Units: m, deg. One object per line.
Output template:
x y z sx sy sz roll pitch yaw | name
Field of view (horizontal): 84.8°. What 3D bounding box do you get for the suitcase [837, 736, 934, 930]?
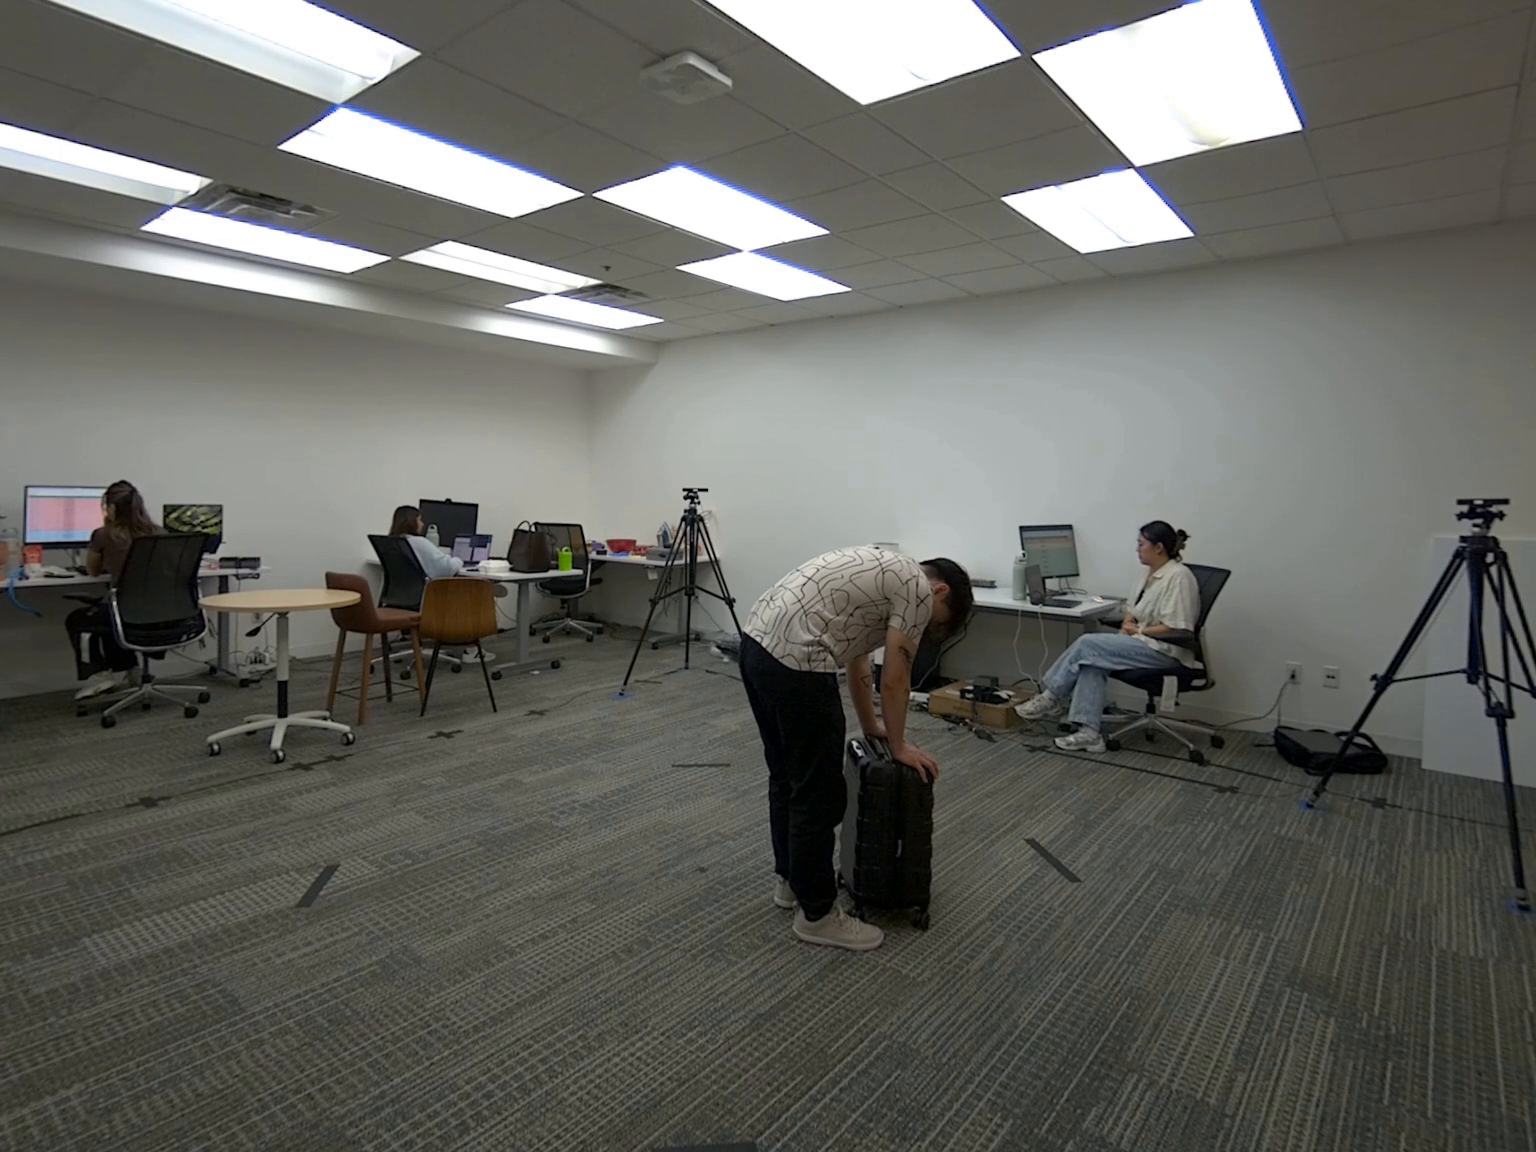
0.396 0.832 2.876 0.248 0.548 0.377 3 3 -2 | suitcase
